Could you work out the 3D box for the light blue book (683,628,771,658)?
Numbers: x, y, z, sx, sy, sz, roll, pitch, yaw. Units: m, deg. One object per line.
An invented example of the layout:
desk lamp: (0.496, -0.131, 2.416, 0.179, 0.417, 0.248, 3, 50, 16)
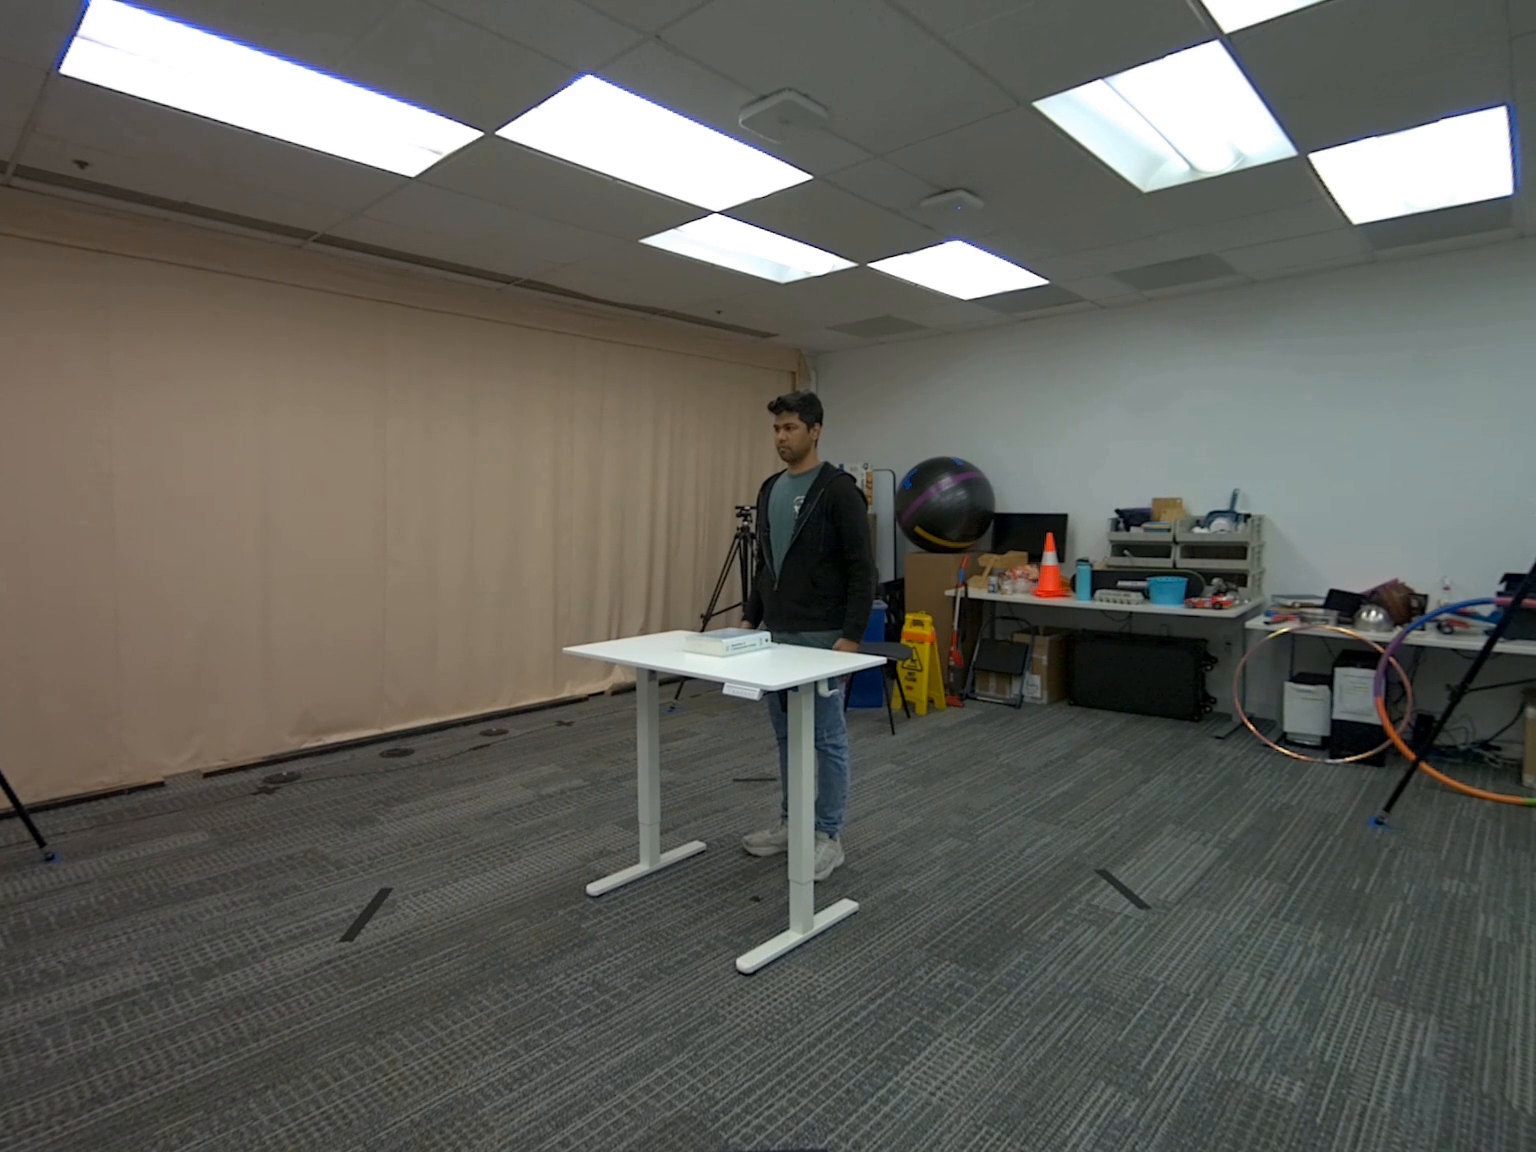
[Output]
light blue book: (-0.159, 0.240, 2.971, 0.270, 0.059, 0.185, 4, 6, 41)
